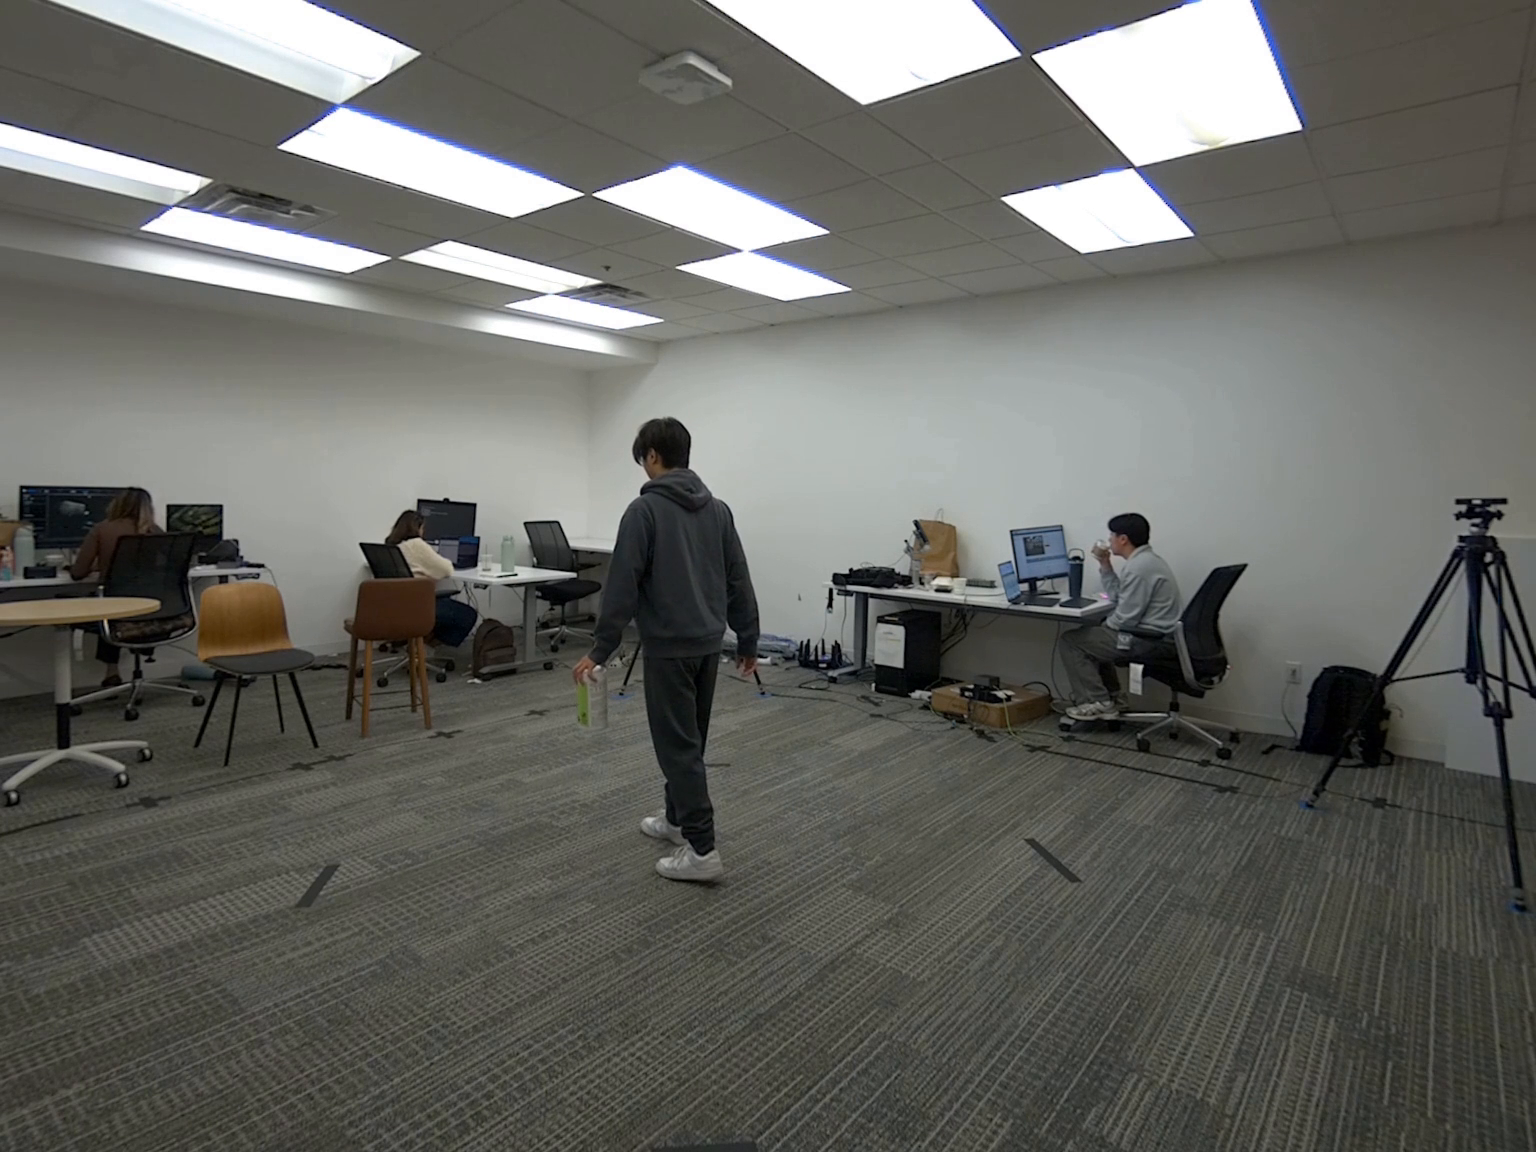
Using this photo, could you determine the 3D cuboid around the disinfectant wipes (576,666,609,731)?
[{"bbox_3d":[-0.645,0.444,3.092,0.118,0.216,0.119,-2,8,-2],"label":"disinfectant wipes"}]
